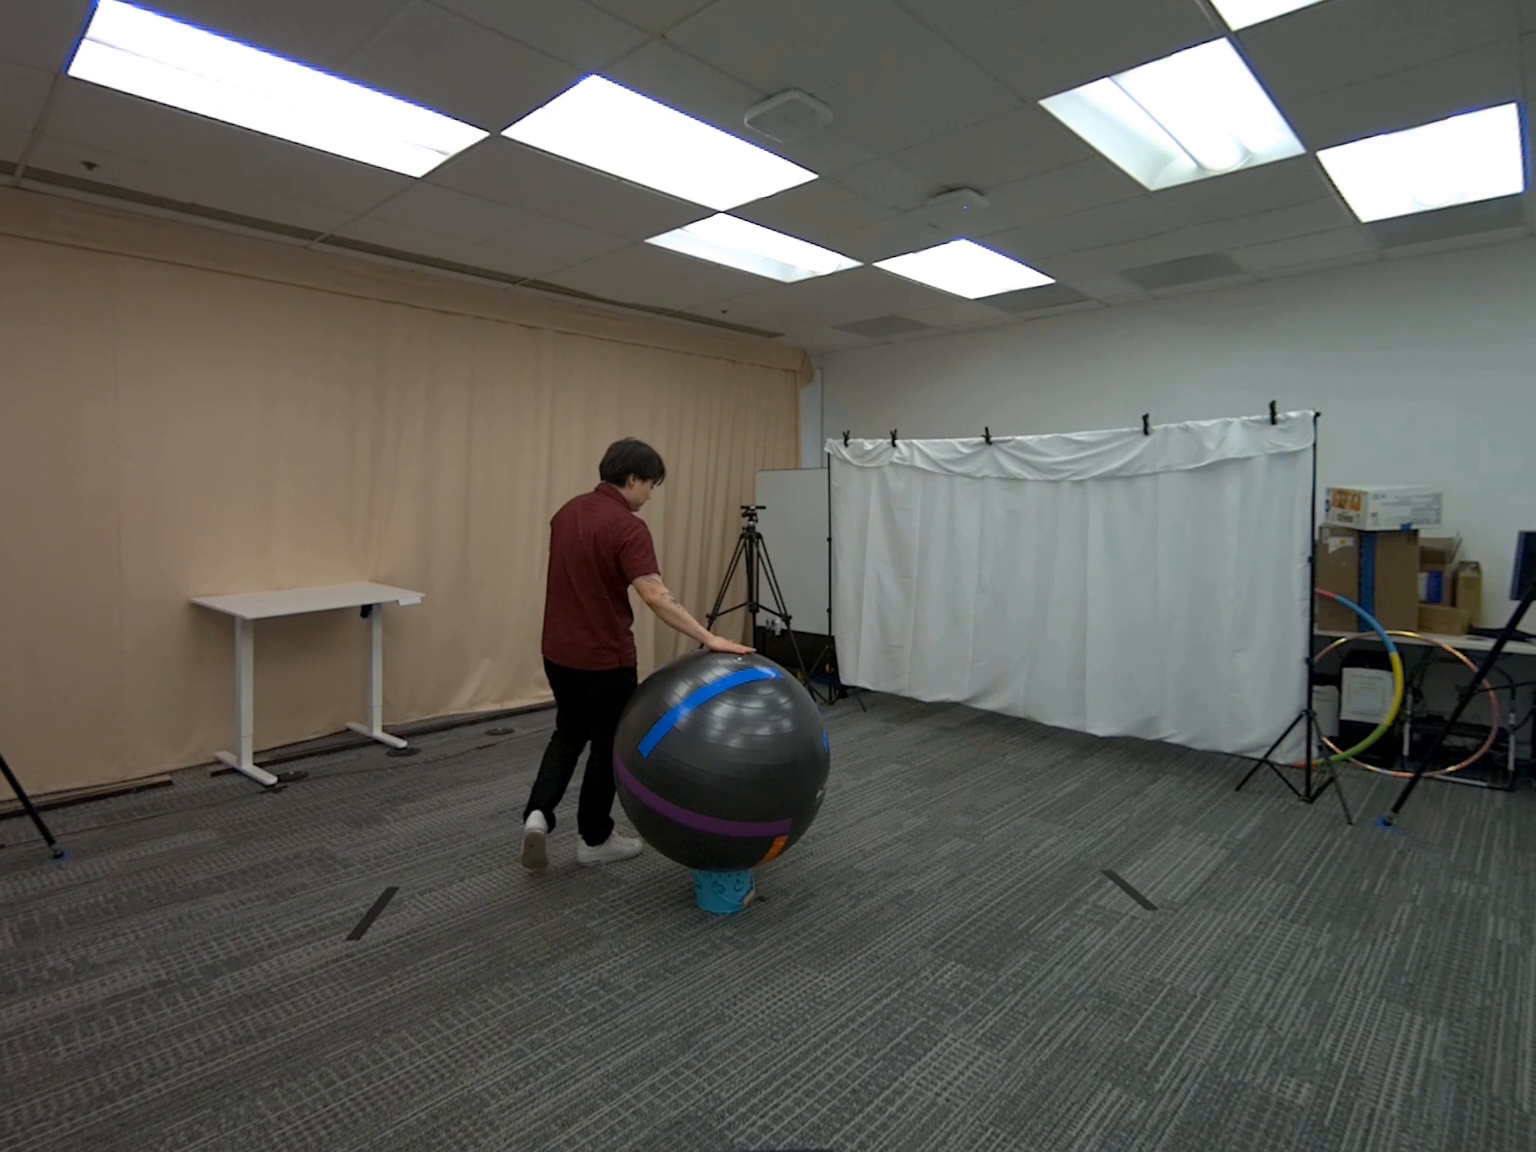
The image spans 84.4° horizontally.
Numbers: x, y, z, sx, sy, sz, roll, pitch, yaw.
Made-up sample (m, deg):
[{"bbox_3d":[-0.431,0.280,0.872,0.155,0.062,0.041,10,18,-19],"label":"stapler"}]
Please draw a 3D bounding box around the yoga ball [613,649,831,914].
[{"bbox_3d":[-0.156,0.637,2.948,0.757,0.756,0.760,0,4,-2],"label":"yoga ball"}]
